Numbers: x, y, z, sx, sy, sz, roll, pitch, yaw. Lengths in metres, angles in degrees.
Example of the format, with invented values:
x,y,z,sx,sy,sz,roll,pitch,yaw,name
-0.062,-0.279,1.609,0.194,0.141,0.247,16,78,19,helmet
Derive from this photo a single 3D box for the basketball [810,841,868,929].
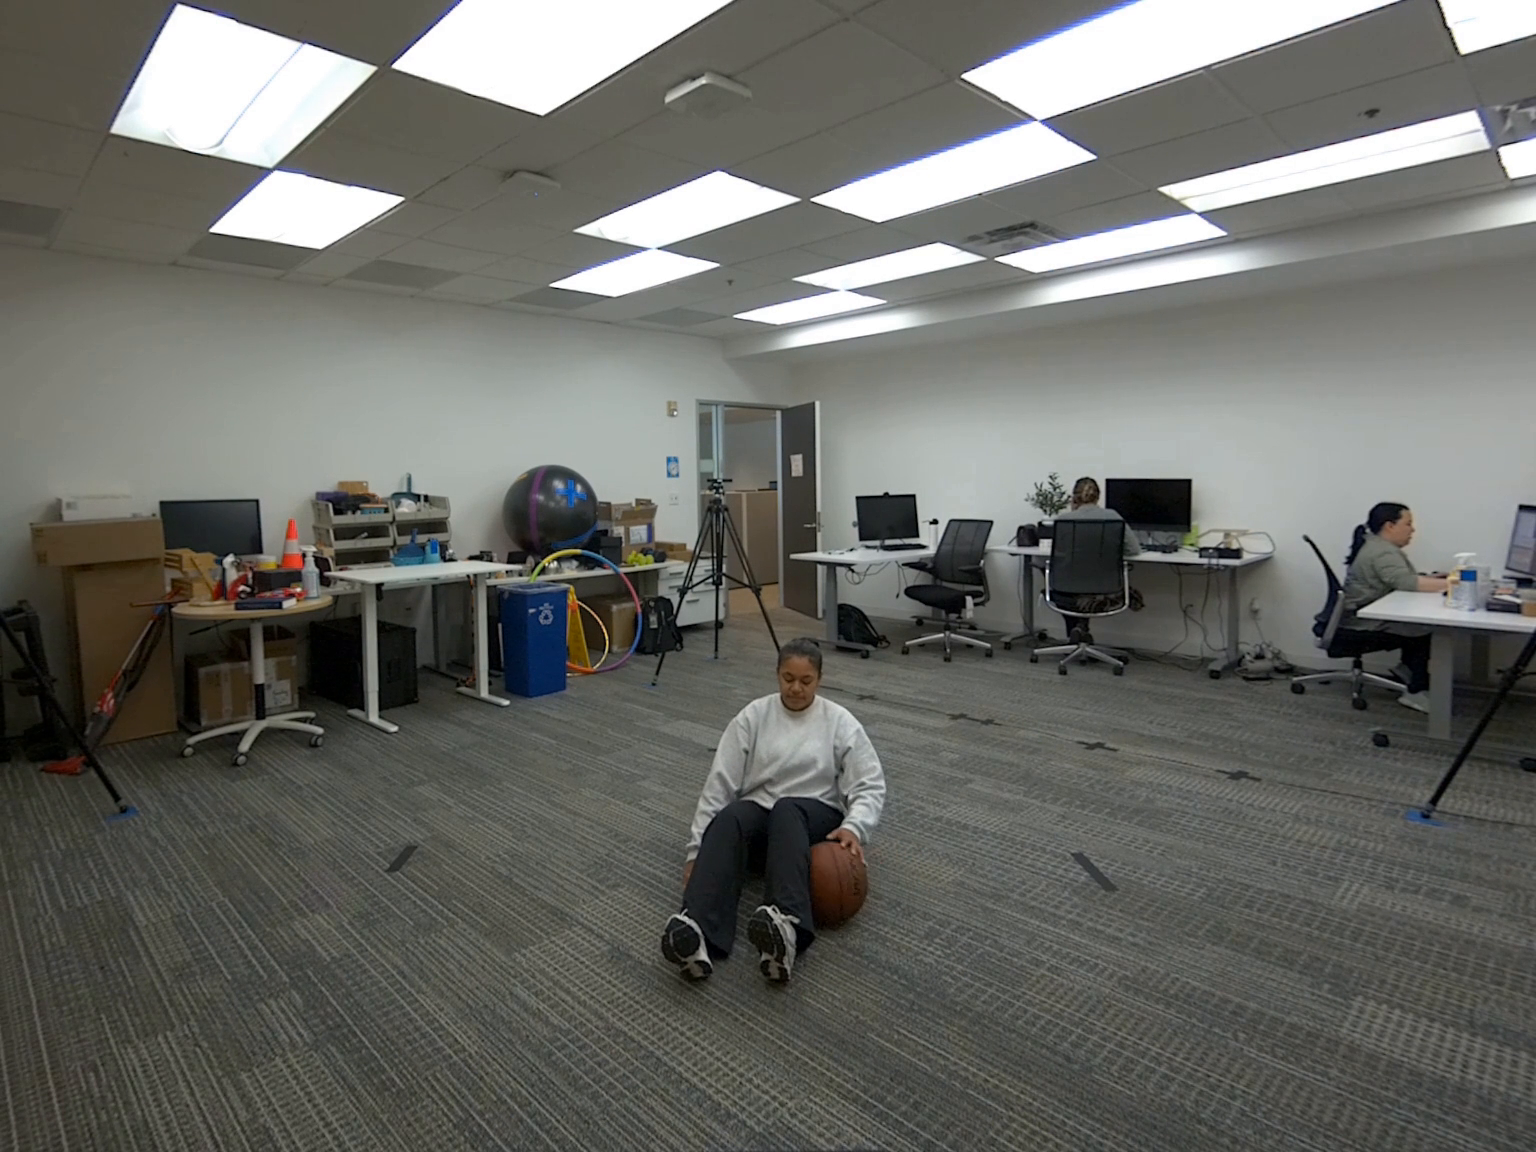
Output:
x,y,z,sx,sy,sz,roll,pitch,yaw,name
0.198,0.966,2.700,0.236,0.235,0.237,-1,5,-2,basketball
